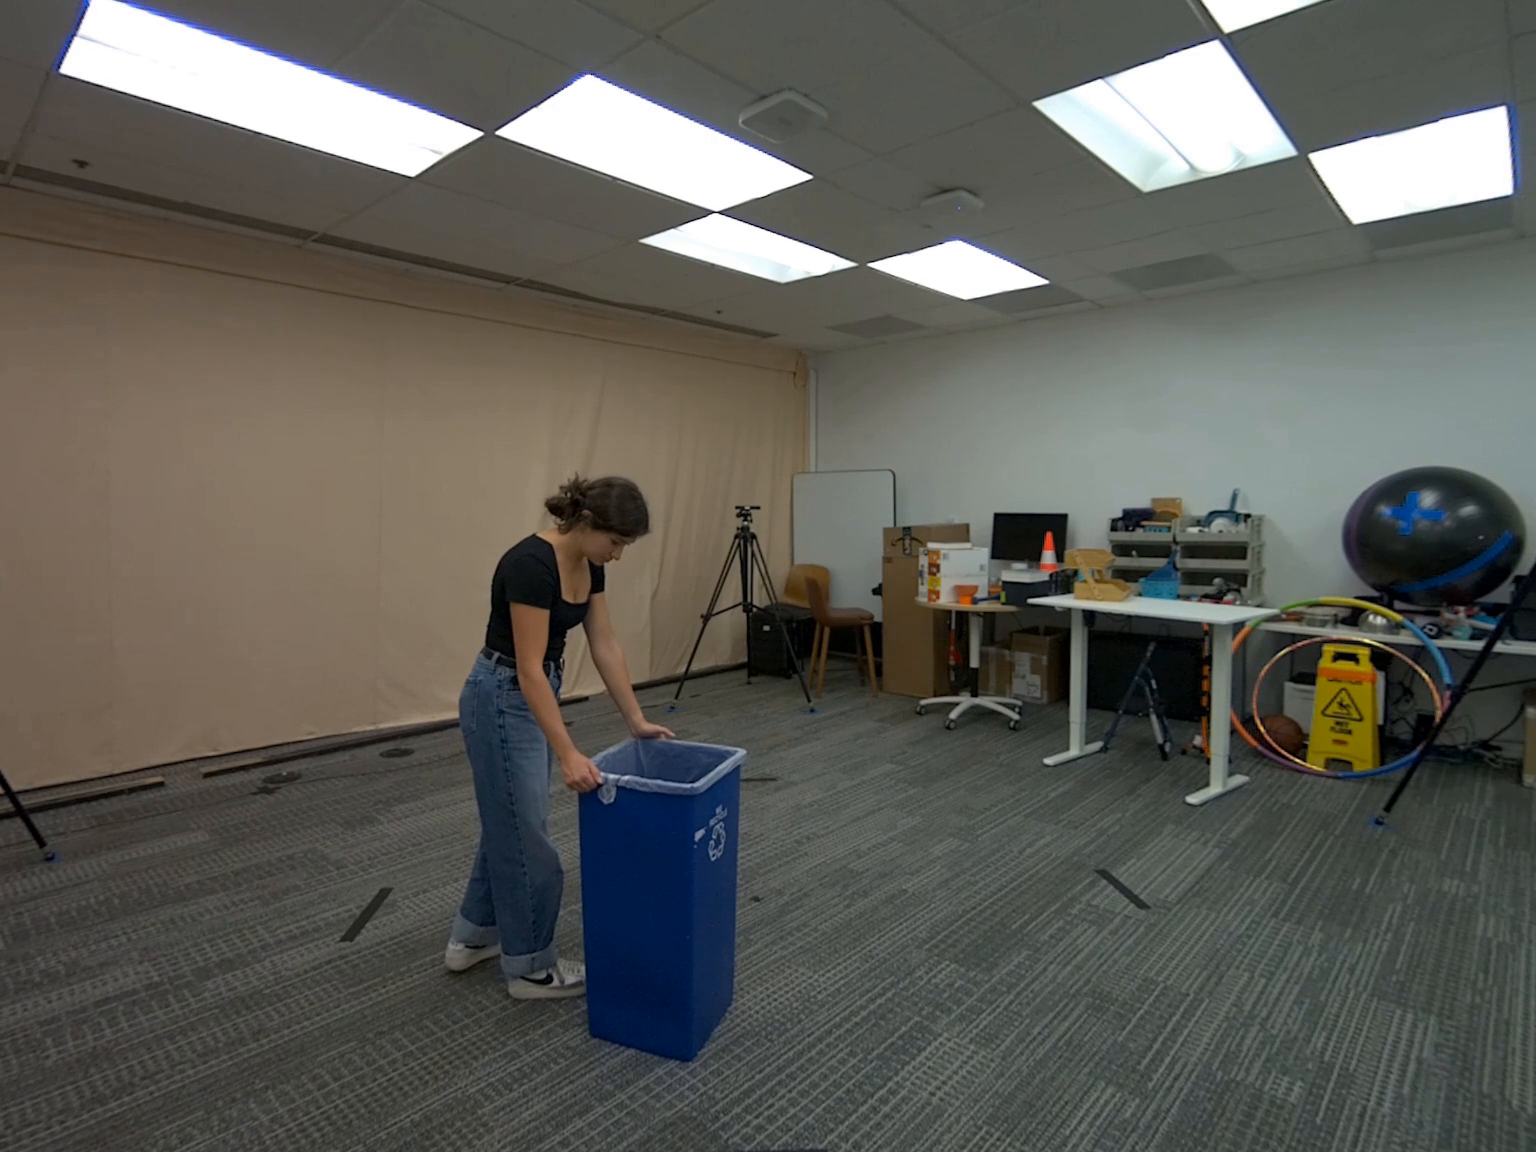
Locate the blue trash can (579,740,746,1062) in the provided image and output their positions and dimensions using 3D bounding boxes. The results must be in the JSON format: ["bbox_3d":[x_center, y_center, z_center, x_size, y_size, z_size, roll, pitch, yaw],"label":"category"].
[{"bbox_3d":[-0.284,0.847,2.279,0.387,0.712,0.366,1,4,21],"label":"blue trash can"}]
